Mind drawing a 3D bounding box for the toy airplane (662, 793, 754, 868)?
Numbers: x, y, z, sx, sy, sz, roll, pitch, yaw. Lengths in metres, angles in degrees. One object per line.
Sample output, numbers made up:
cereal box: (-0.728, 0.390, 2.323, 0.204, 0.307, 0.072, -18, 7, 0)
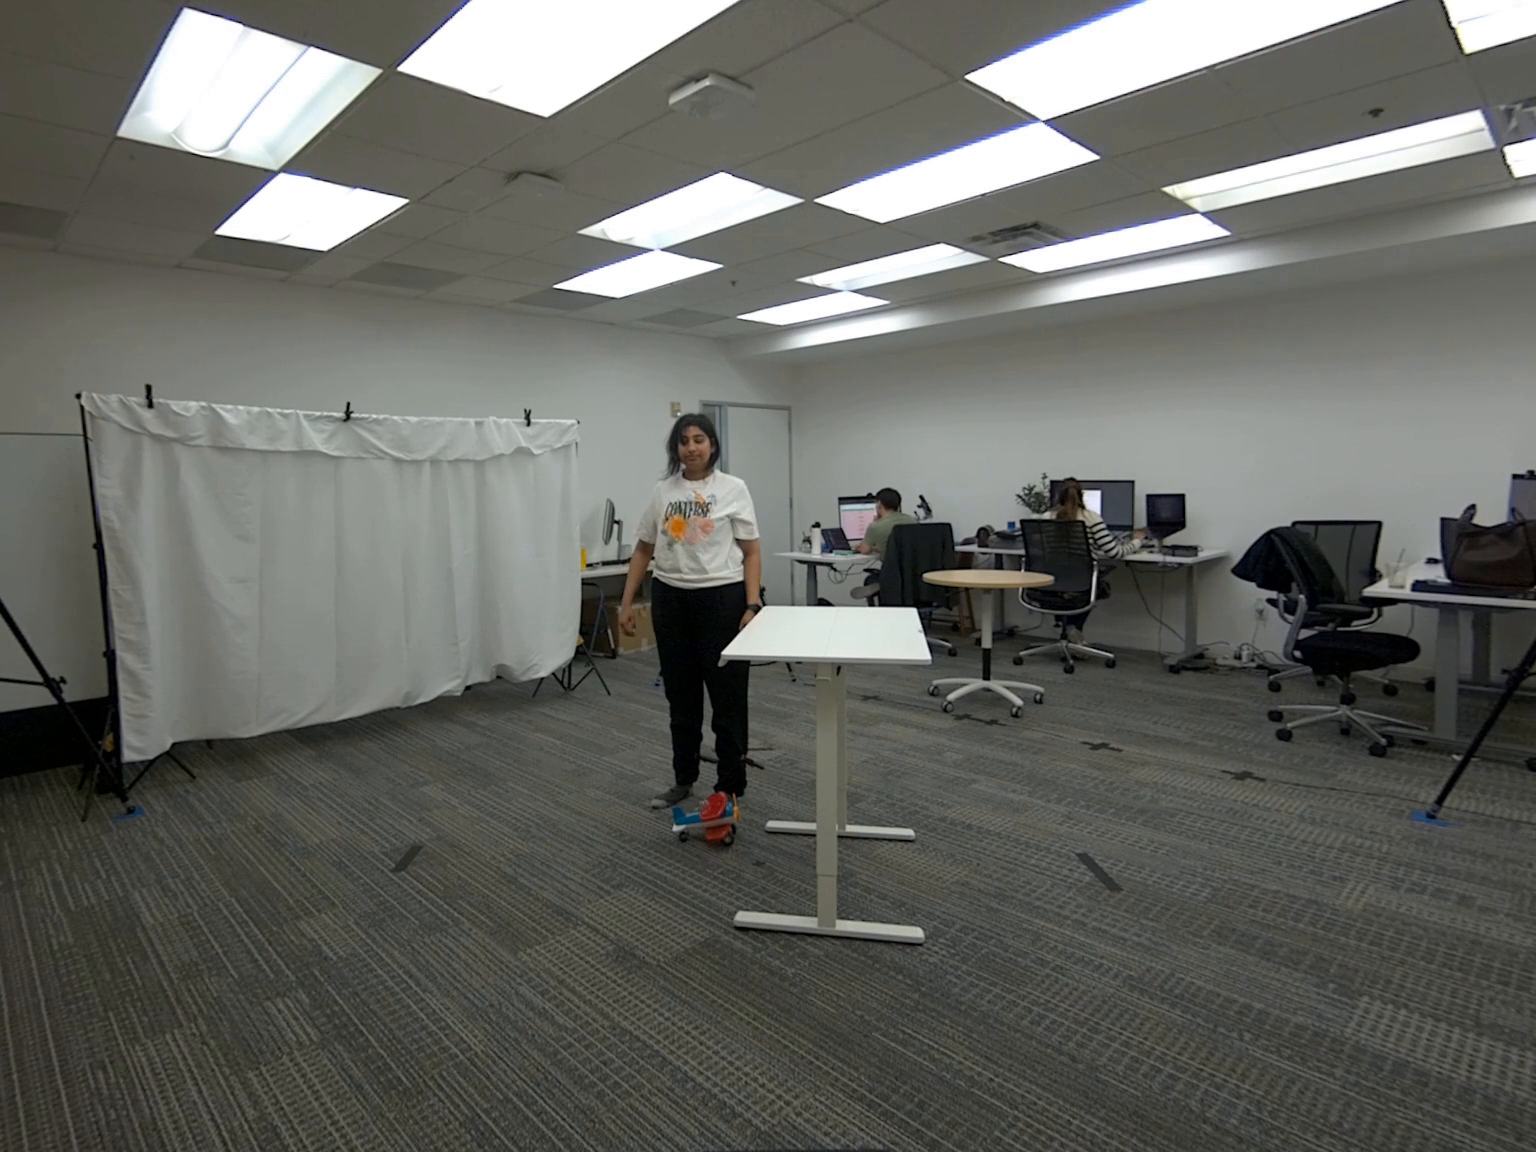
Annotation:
toy airplane: (-0.236, 0.969, 3.300, 0.254, 0.156, 0.257, -5, 5, -27)
